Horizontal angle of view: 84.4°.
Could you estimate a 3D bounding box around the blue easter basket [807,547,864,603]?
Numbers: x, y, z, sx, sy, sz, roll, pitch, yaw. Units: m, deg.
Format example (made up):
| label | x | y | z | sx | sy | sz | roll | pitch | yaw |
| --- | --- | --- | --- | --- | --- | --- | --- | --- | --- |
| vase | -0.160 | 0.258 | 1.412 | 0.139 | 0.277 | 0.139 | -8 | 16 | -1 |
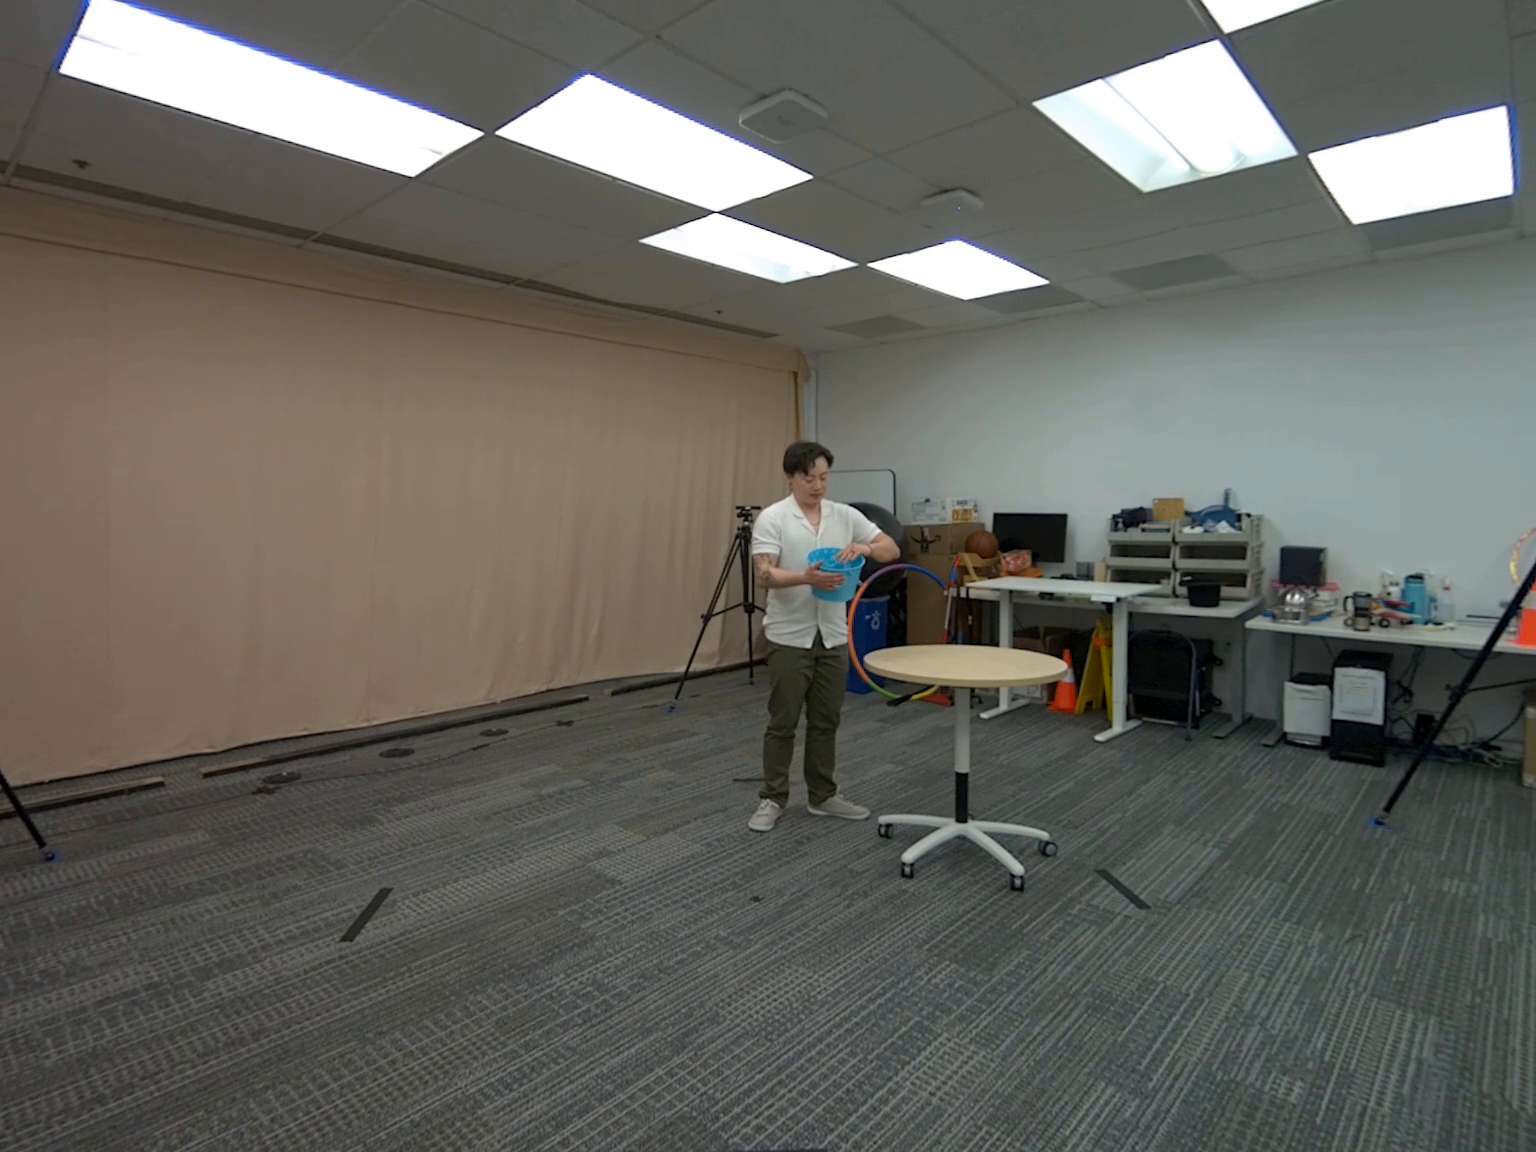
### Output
| label | x | y | z | sx | sy | sz | roll | pitch | yaw |
| --- | --- | --- | --- | --- | --- | --- | --- | --- | --- |
| blue easter basket | 0.284 | 0.005 | 3.445 | 0.243 | 0.154 | 0.247 | -1 | 24 | -2 |
